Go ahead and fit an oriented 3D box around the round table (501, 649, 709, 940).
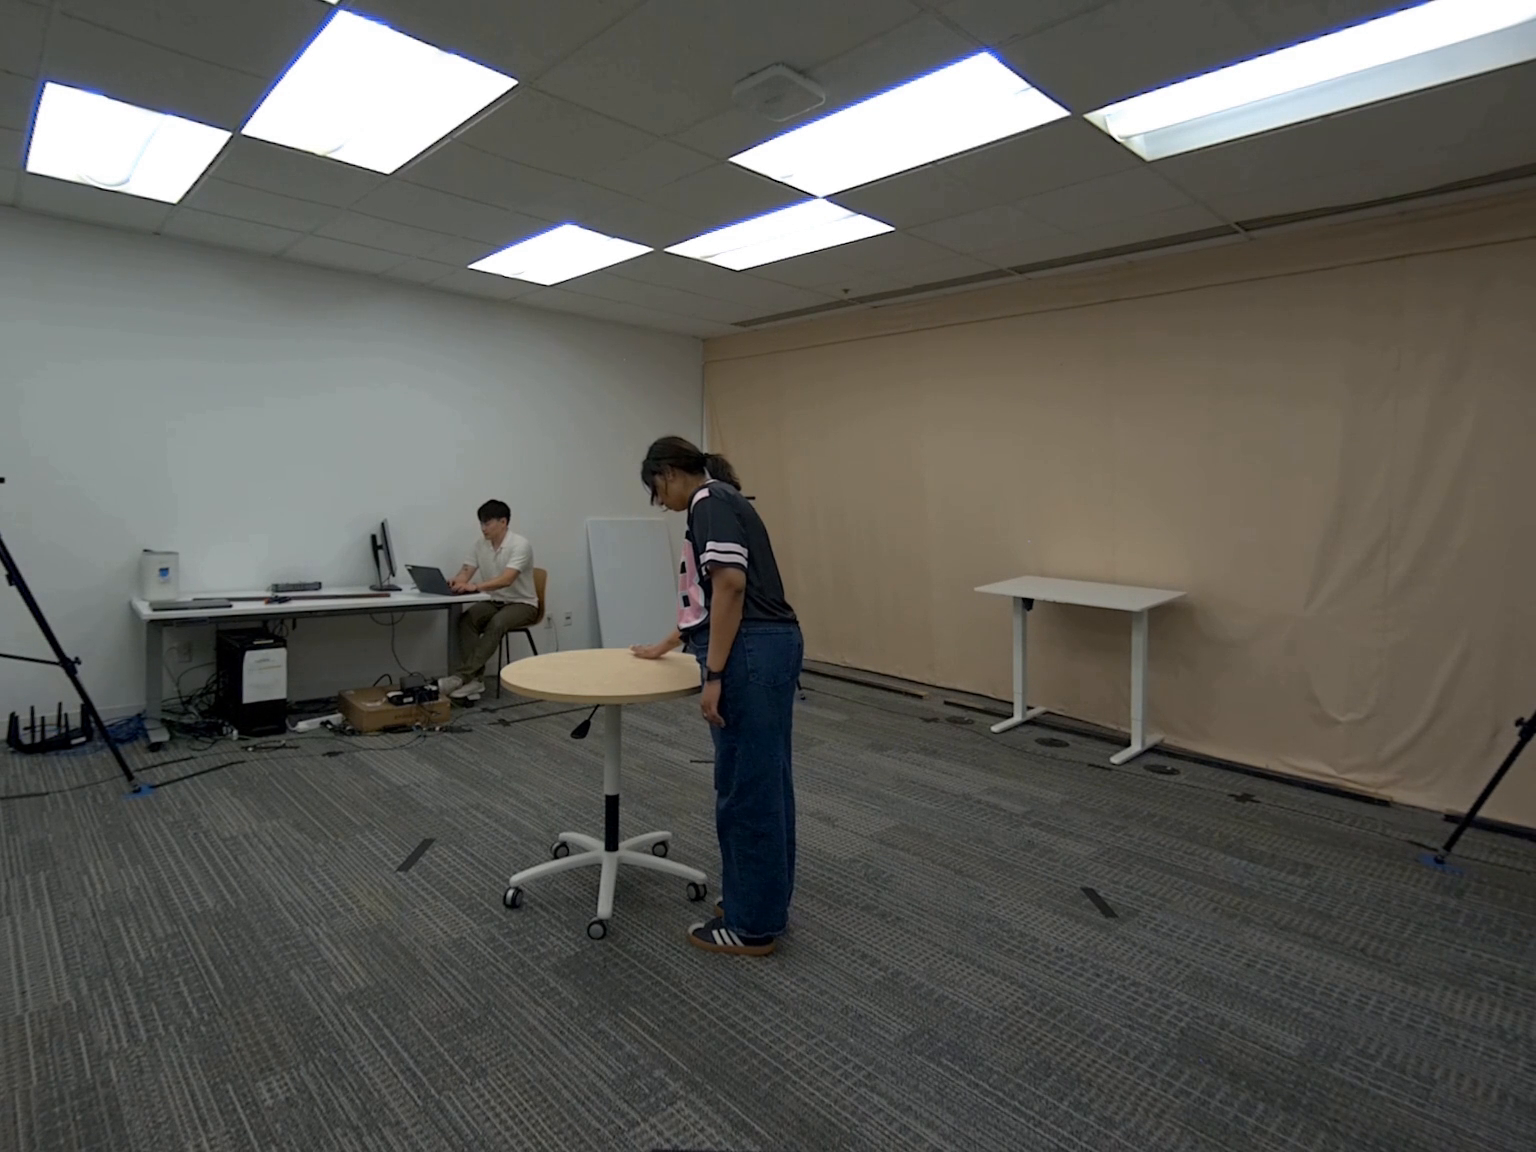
[{"bbox_3d":[-0.561,0.718,2.950,0.784,0.784,0.788,1,4,-1],"label":"round table"}]
